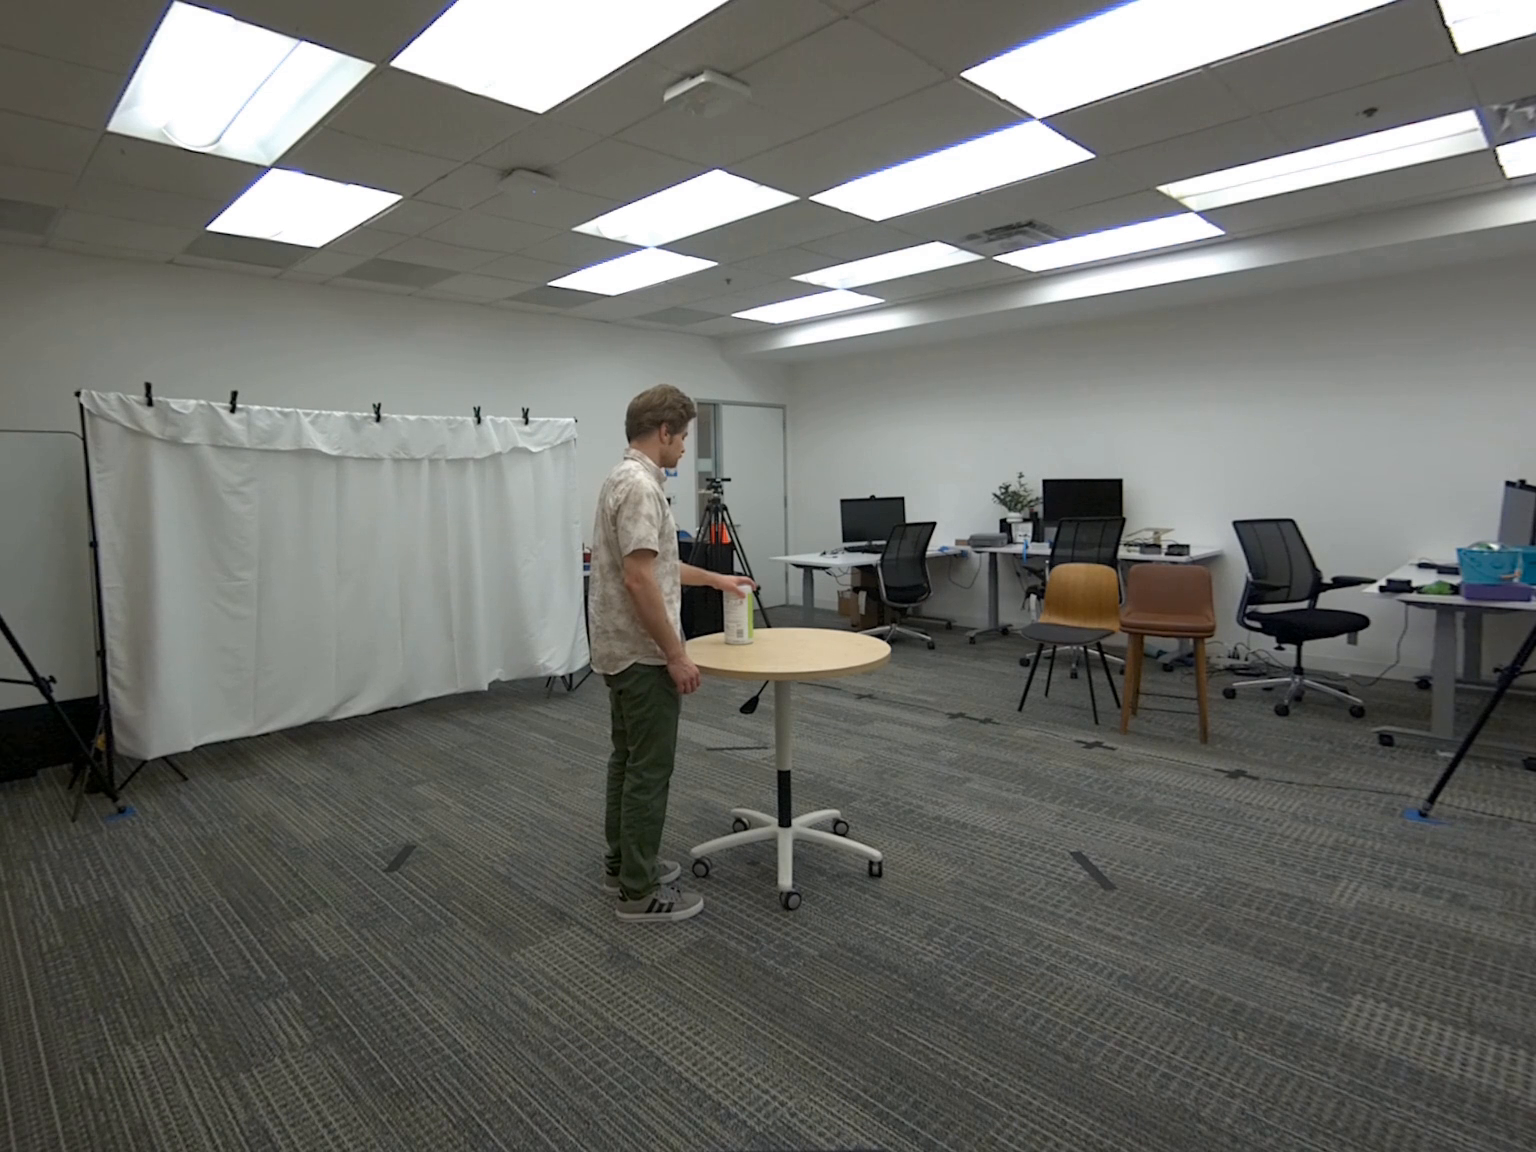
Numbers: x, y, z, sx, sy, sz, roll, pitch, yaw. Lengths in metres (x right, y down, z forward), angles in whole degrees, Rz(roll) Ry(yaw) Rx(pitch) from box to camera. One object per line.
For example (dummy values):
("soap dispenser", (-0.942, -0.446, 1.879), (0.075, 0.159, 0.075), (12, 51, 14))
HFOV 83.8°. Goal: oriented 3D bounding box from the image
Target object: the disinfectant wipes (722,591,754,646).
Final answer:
("disinfectant wipes", (-0.106, 0.140, 3.157), (0.118, 0.217, 0.118), (-1, 4, -2))
